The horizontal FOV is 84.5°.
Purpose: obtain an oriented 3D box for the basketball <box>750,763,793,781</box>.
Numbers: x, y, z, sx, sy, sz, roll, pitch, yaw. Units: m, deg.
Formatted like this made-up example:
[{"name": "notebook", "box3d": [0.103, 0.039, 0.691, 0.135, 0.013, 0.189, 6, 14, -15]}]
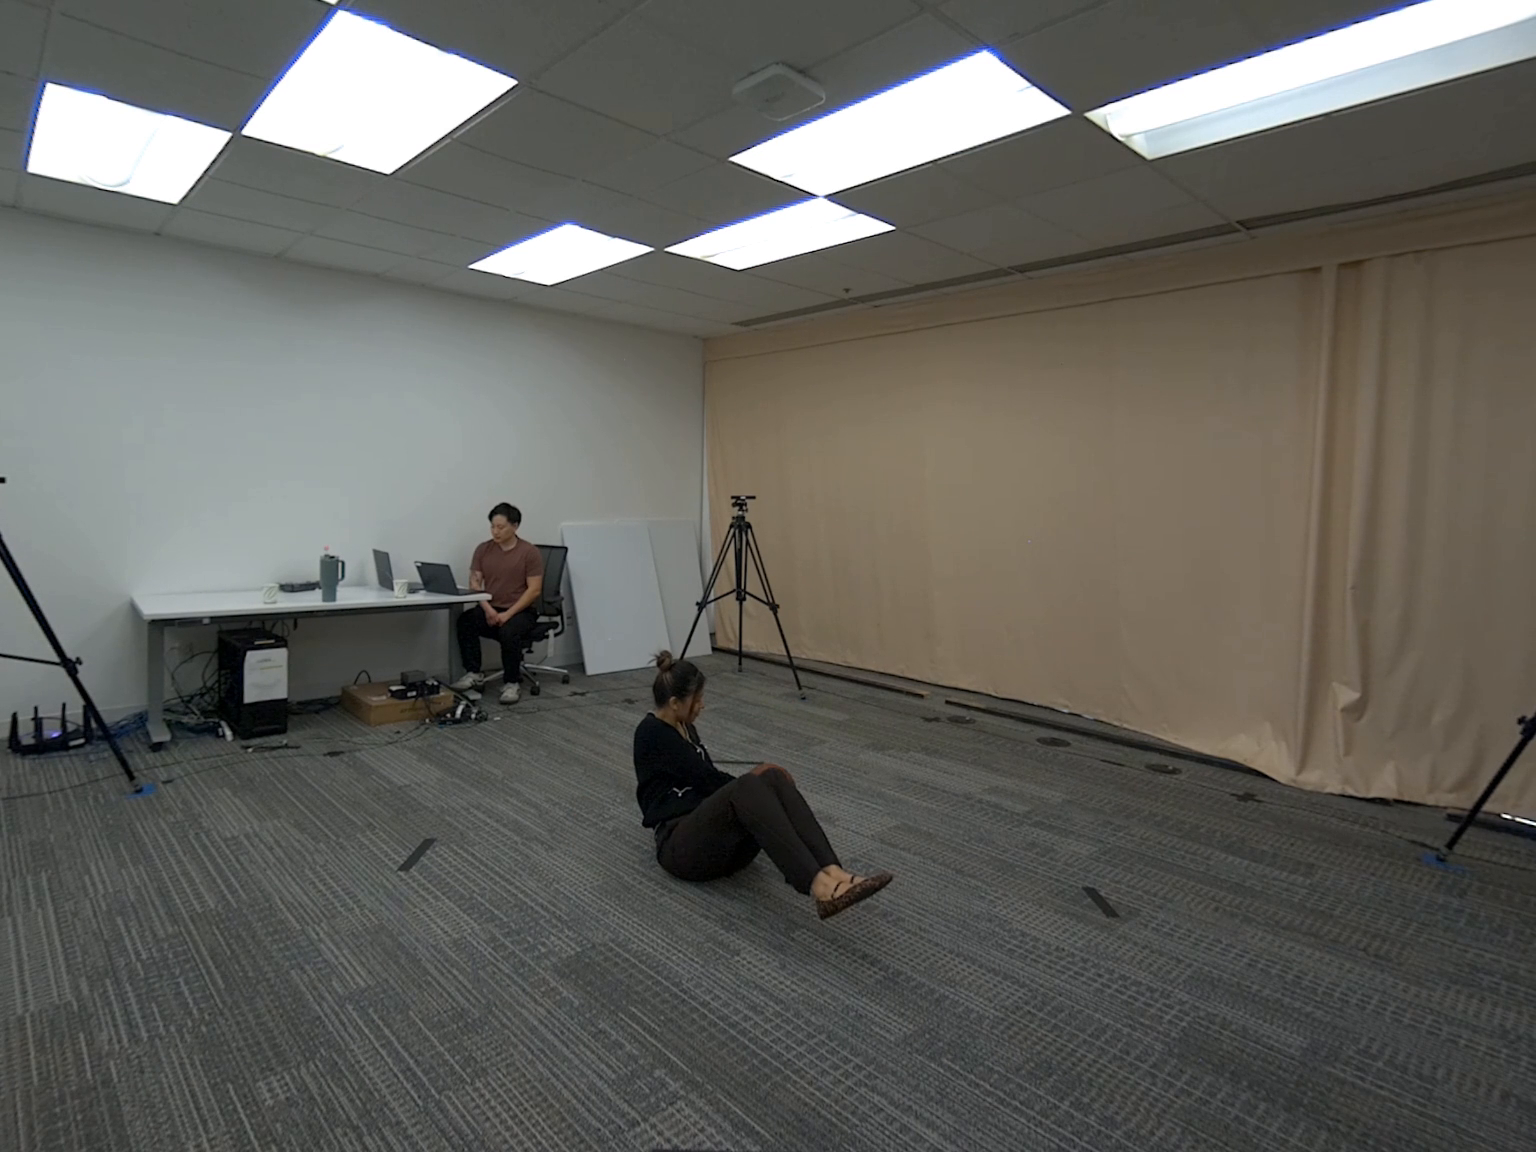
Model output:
[{"name": "basketball", "box3d": [0.001, 0.894, 3.497, 0.236, 0.235, 0.237, 1, 4, -1]}]
